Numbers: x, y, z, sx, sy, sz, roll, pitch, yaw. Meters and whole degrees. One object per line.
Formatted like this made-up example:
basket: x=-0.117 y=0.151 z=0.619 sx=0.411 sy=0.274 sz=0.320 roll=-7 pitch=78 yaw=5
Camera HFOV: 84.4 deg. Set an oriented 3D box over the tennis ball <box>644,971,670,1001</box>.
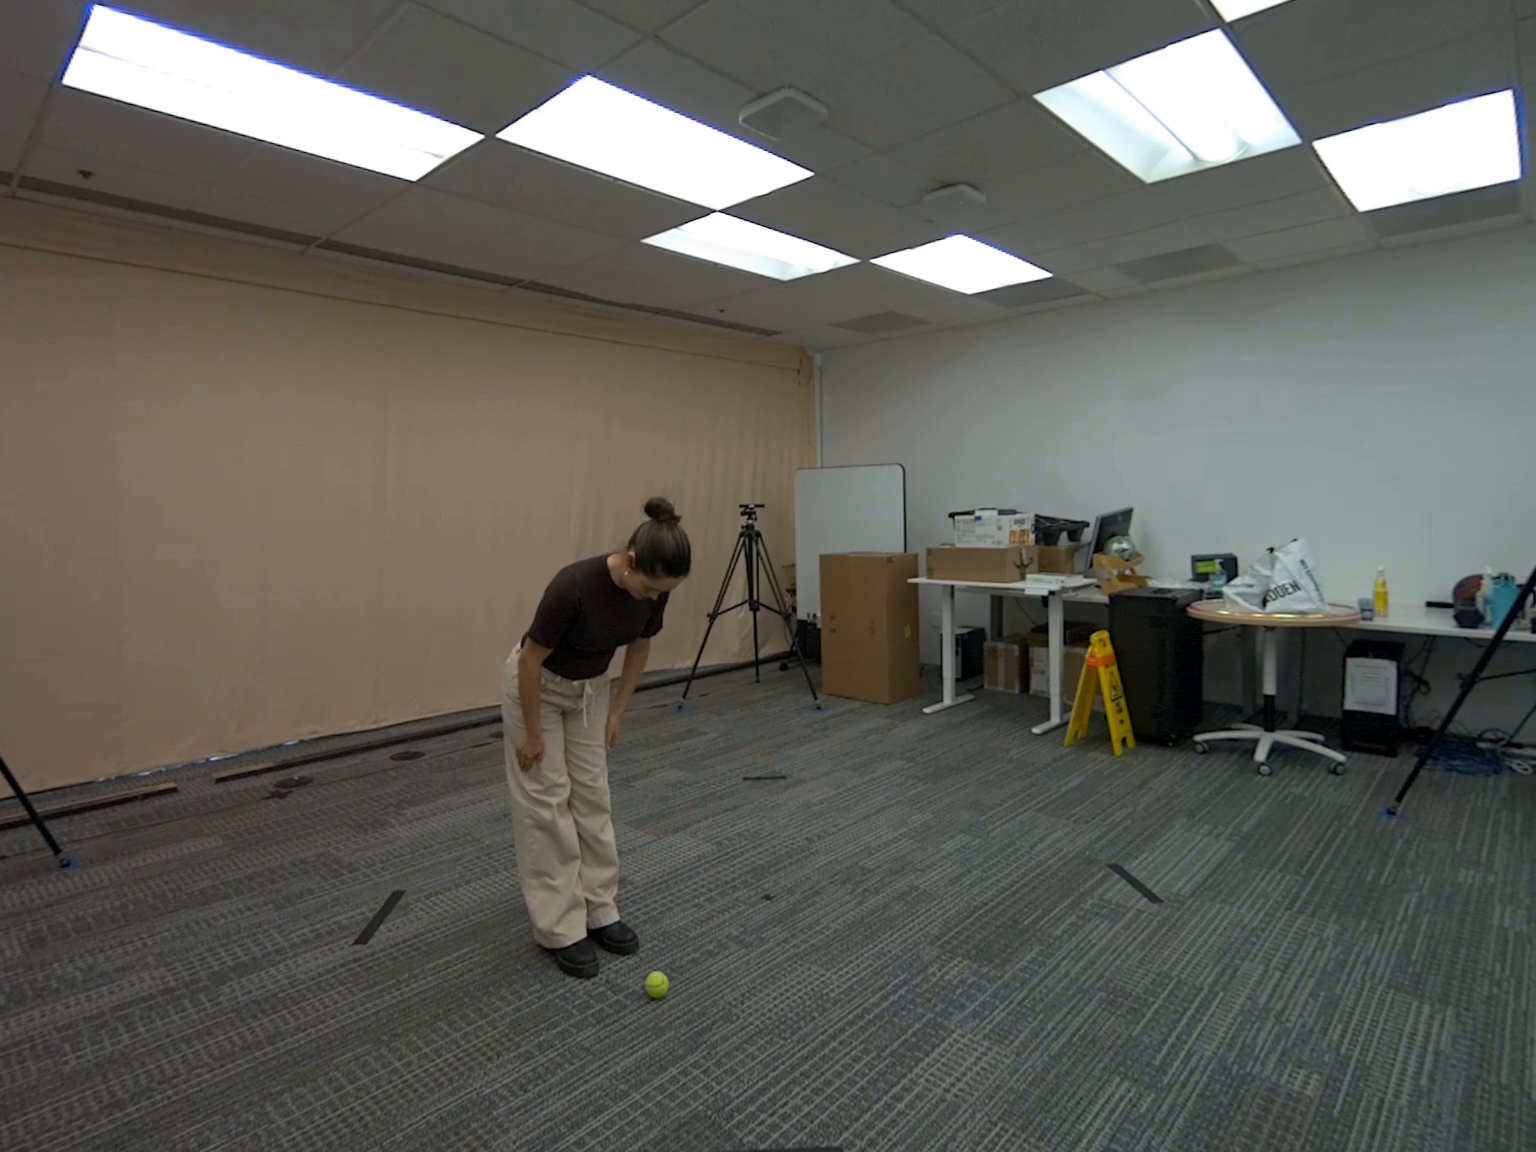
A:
tennis ball: x=-0.314 y=1.161 z=2.388 sx=0.066 sy=0.066 sz=0.067 roll=-1 pitch=4 yaw=-2
